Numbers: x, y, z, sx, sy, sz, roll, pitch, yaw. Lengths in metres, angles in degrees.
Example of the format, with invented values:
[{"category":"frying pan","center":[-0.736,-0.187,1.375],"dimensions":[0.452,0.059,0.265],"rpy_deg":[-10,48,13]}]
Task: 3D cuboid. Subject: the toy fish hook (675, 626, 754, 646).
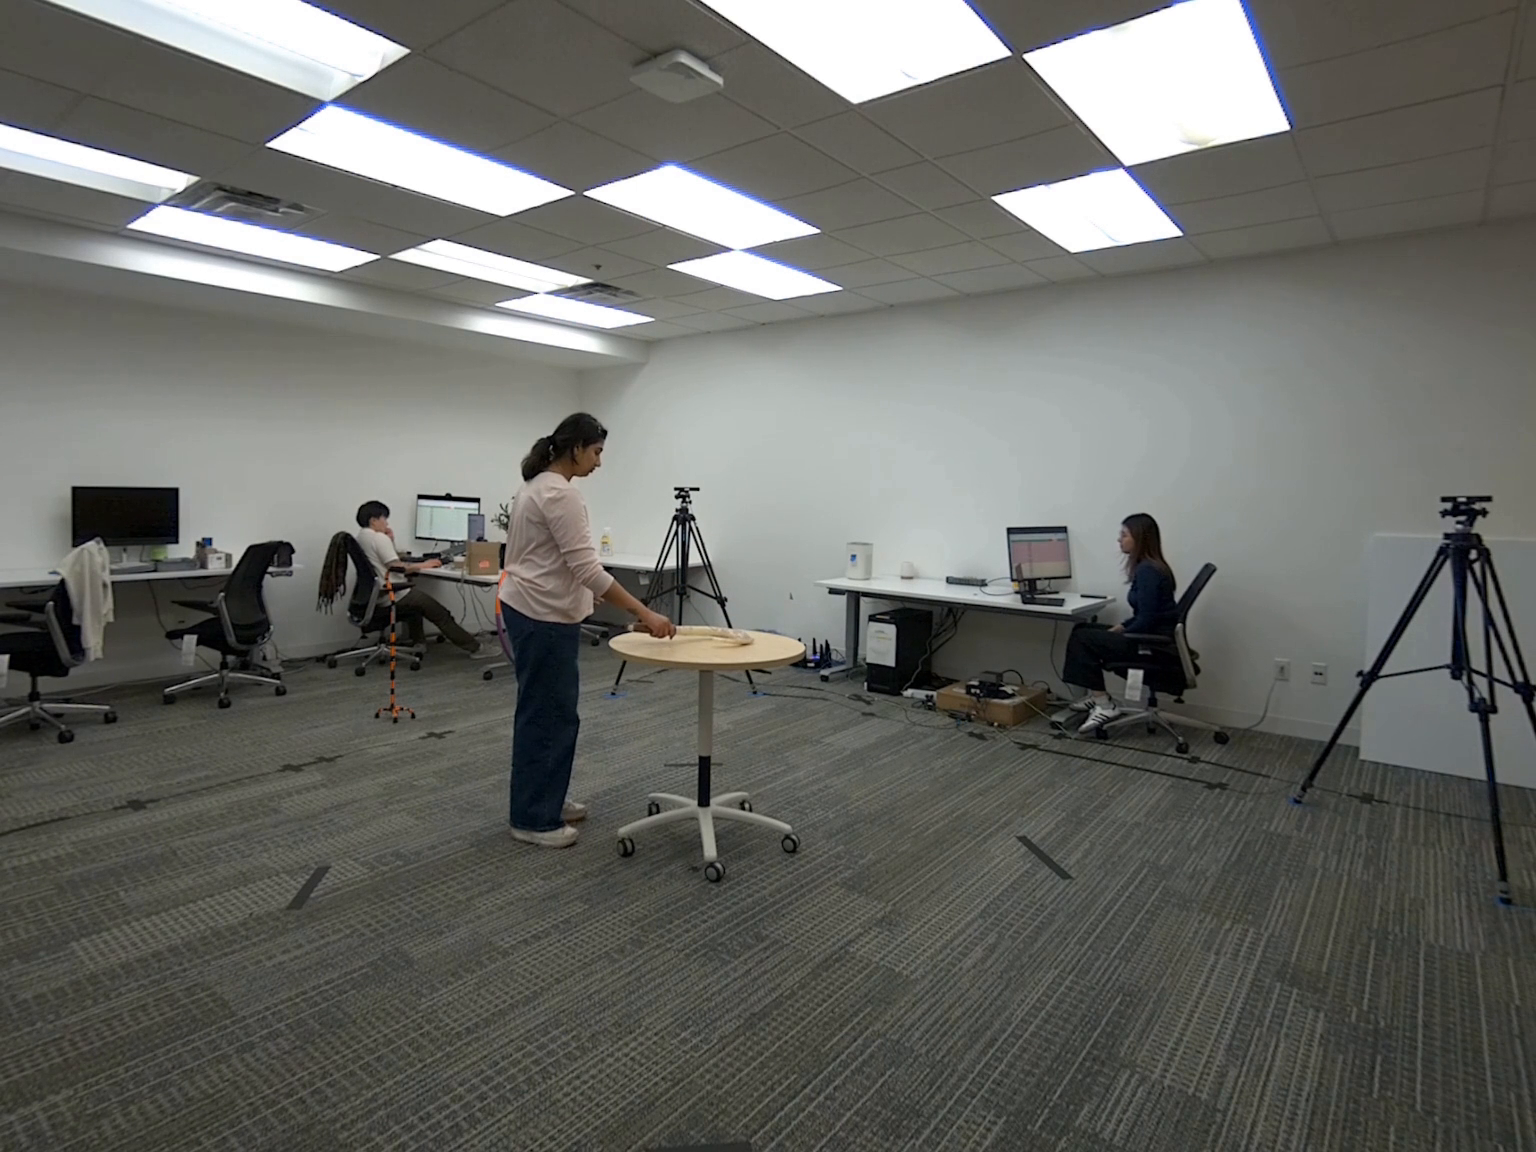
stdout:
[{"category":"toy fish hook","center":[-0.315,0.231,3.304],"dimensions":[0.496,0.048,0.229],"rpy_deg":[4,2,-19]}]
